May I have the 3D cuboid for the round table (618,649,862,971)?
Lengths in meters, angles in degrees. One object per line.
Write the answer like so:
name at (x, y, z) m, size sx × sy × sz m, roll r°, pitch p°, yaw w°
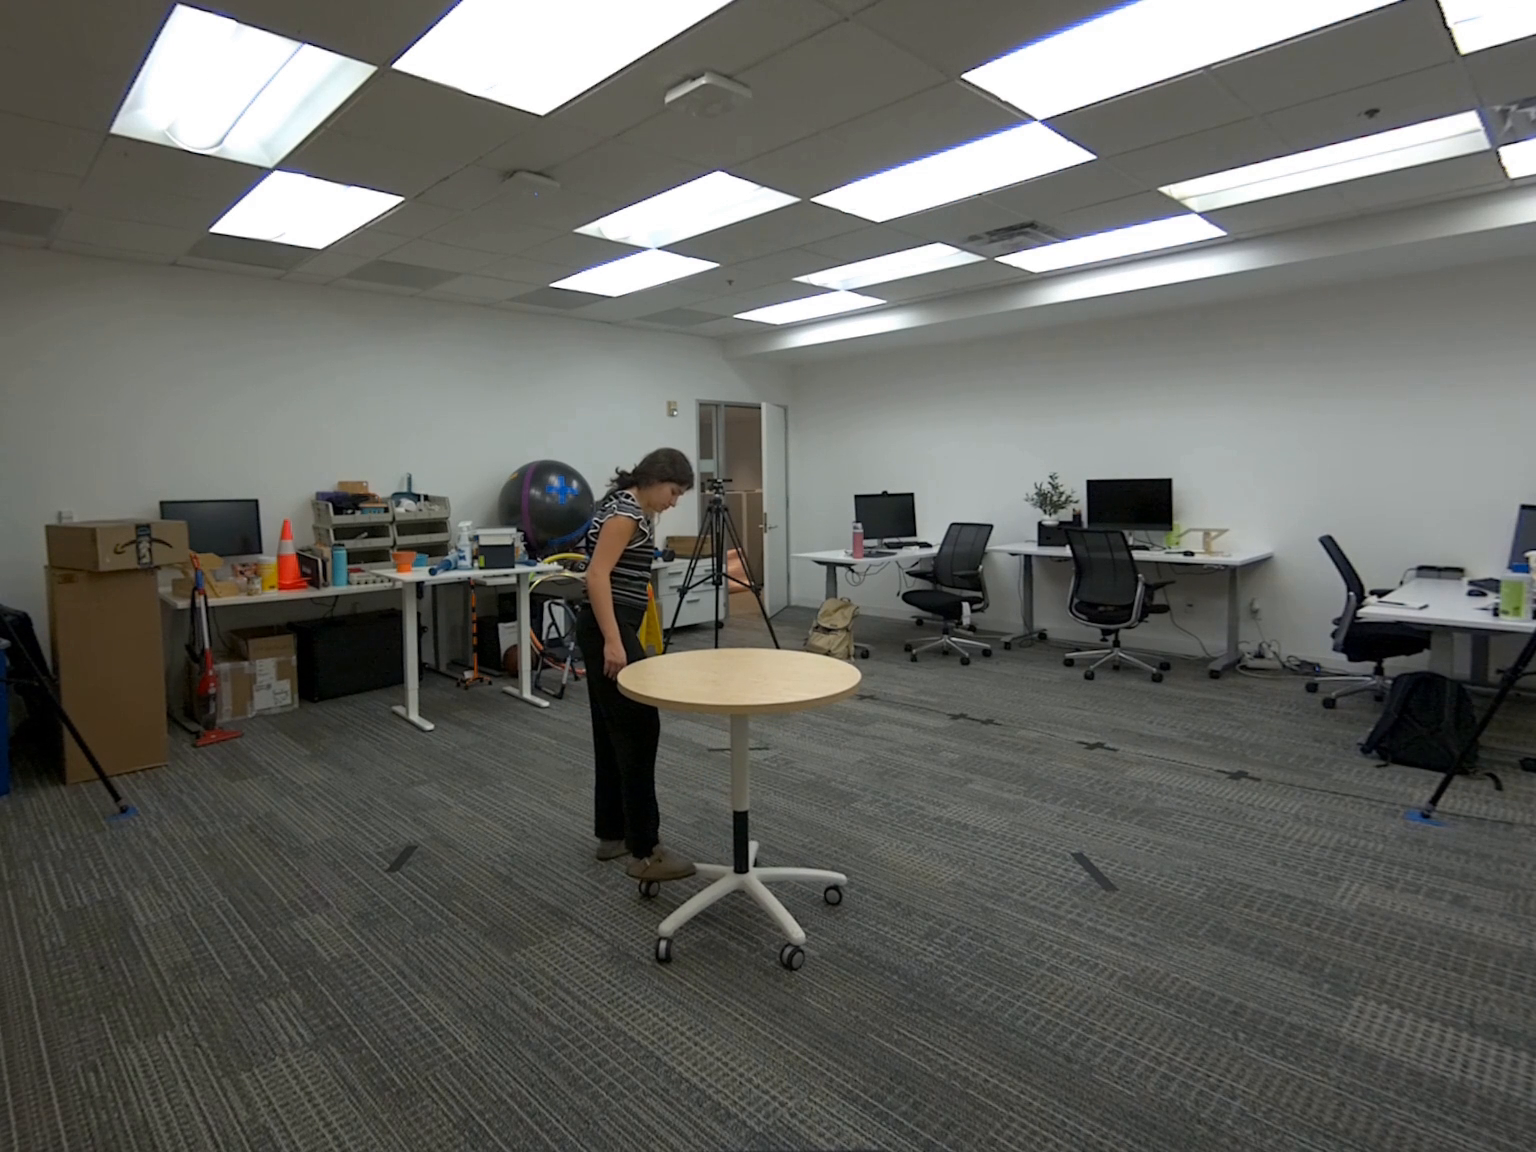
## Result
round table at (-0.097, 0.697, 2.715) m, size 0.784 × 0.783 × 0.789 m, roll -1°, pitch 5°, yaw -2°
